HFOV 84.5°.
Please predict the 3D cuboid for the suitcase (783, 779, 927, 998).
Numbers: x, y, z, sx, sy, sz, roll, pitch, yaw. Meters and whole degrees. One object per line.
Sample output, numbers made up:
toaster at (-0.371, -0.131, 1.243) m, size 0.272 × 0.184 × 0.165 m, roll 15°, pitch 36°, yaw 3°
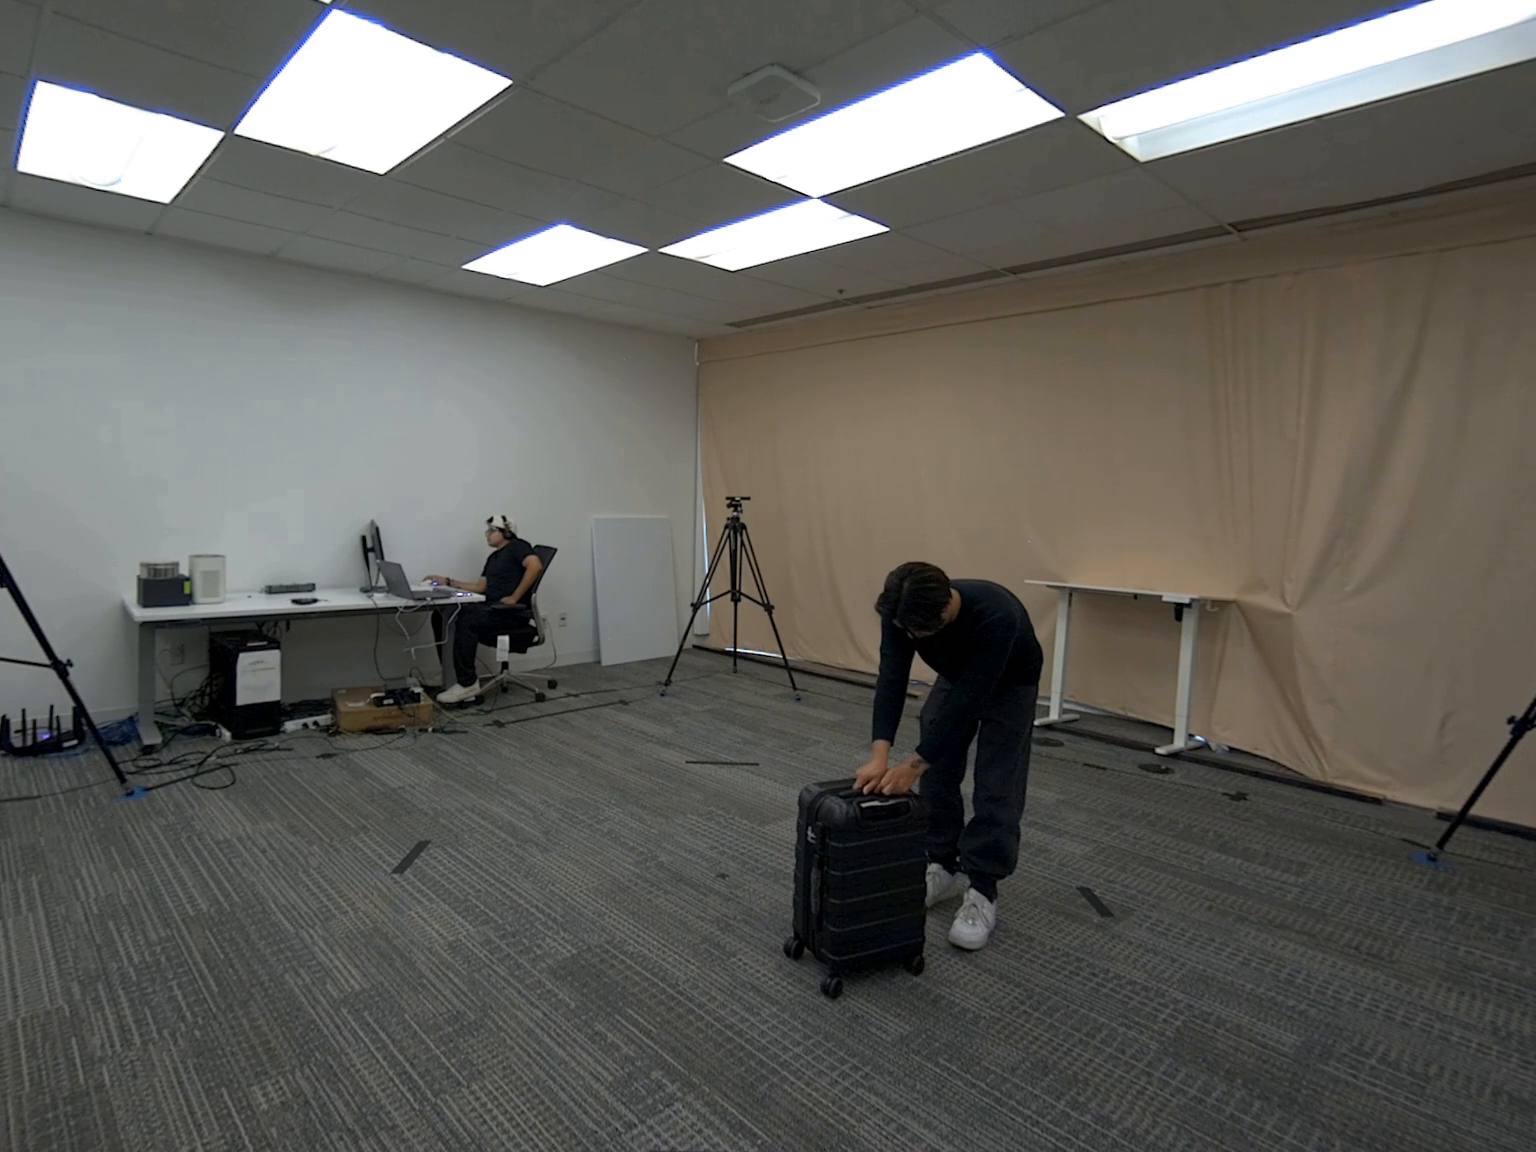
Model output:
suitcase at (0.271, 0.896, 2.527) m, size 0.368 × 0.549 × 0.253 m, roll 1°, pitch 2°, yaw -26°
